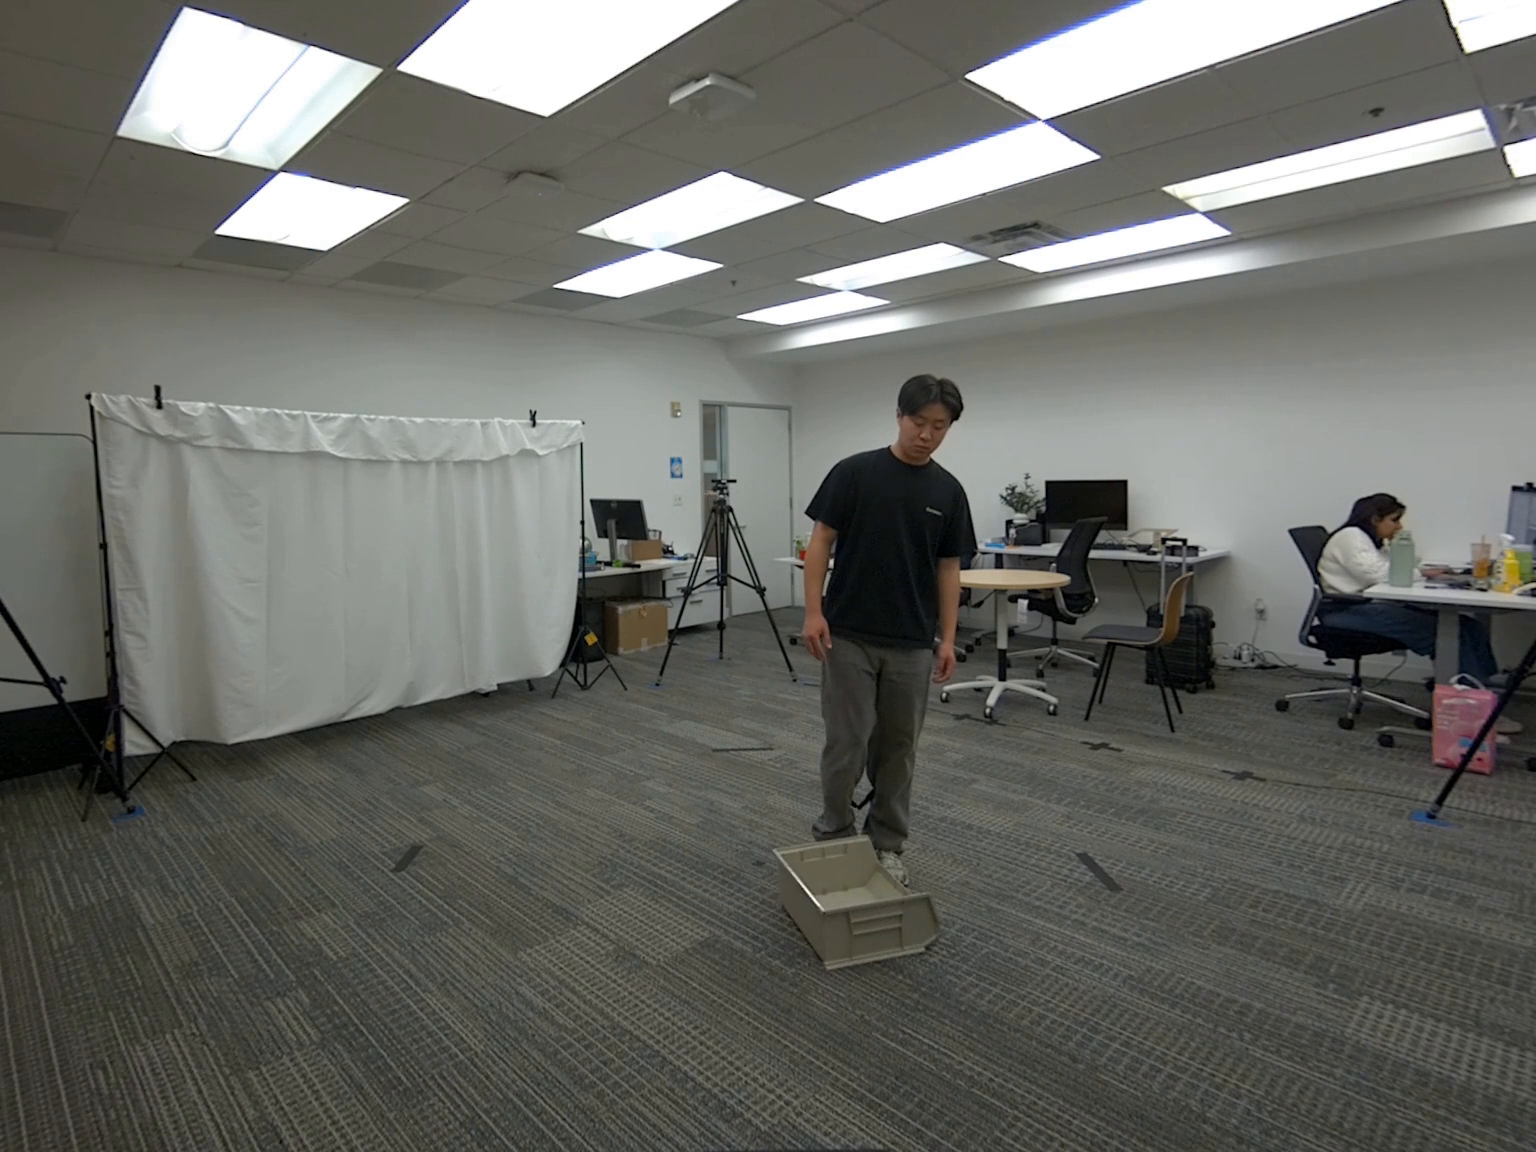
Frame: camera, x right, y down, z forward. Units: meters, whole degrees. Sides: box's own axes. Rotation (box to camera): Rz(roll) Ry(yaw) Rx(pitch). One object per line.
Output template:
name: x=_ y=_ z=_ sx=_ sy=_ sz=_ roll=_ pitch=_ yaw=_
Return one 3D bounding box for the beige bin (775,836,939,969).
beige bin: x=0.269 y=1.006 z=2.659 sx=0.372 sy=0.188 sz=0.431 roll=-4 pitch=7 yaw=-17
